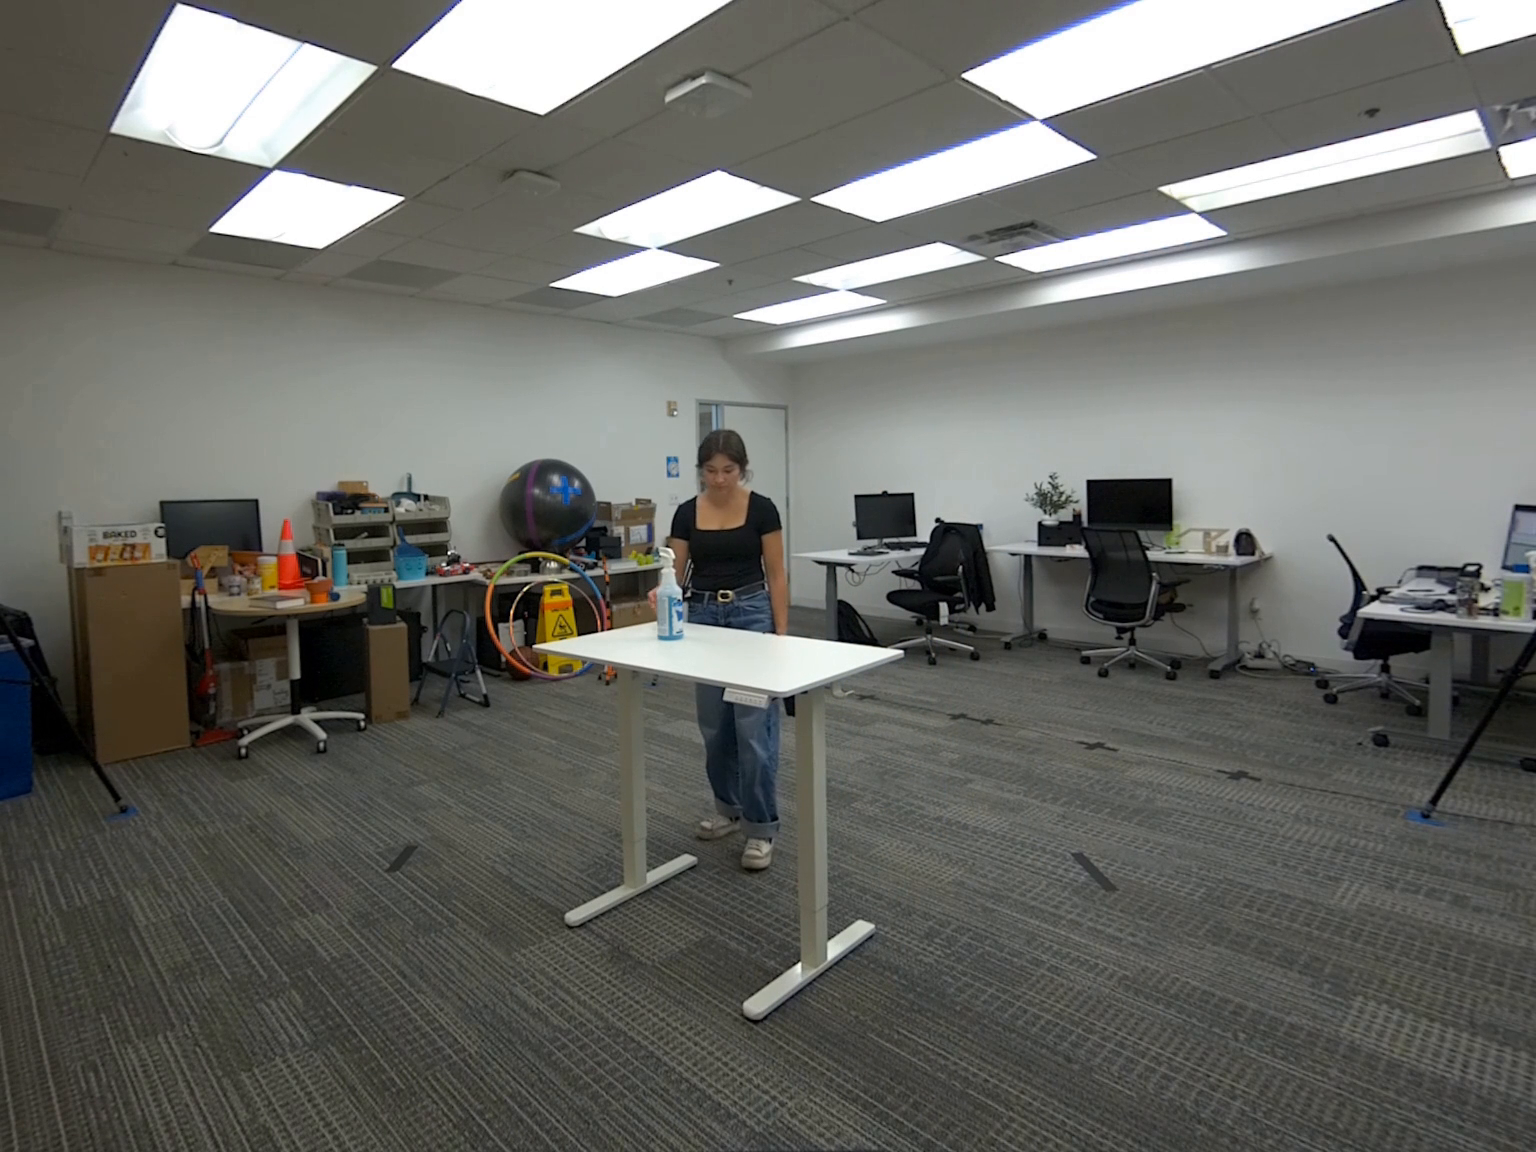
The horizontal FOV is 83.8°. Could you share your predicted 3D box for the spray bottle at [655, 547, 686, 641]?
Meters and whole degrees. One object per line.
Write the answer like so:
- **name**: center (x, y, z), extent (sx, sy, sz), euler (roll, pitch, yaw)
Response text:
- **spray bottle**: center (-0.329, 0.063, 2.794), extent (0.086, 0.297, 0.091), euler (-1, 1, -9)
